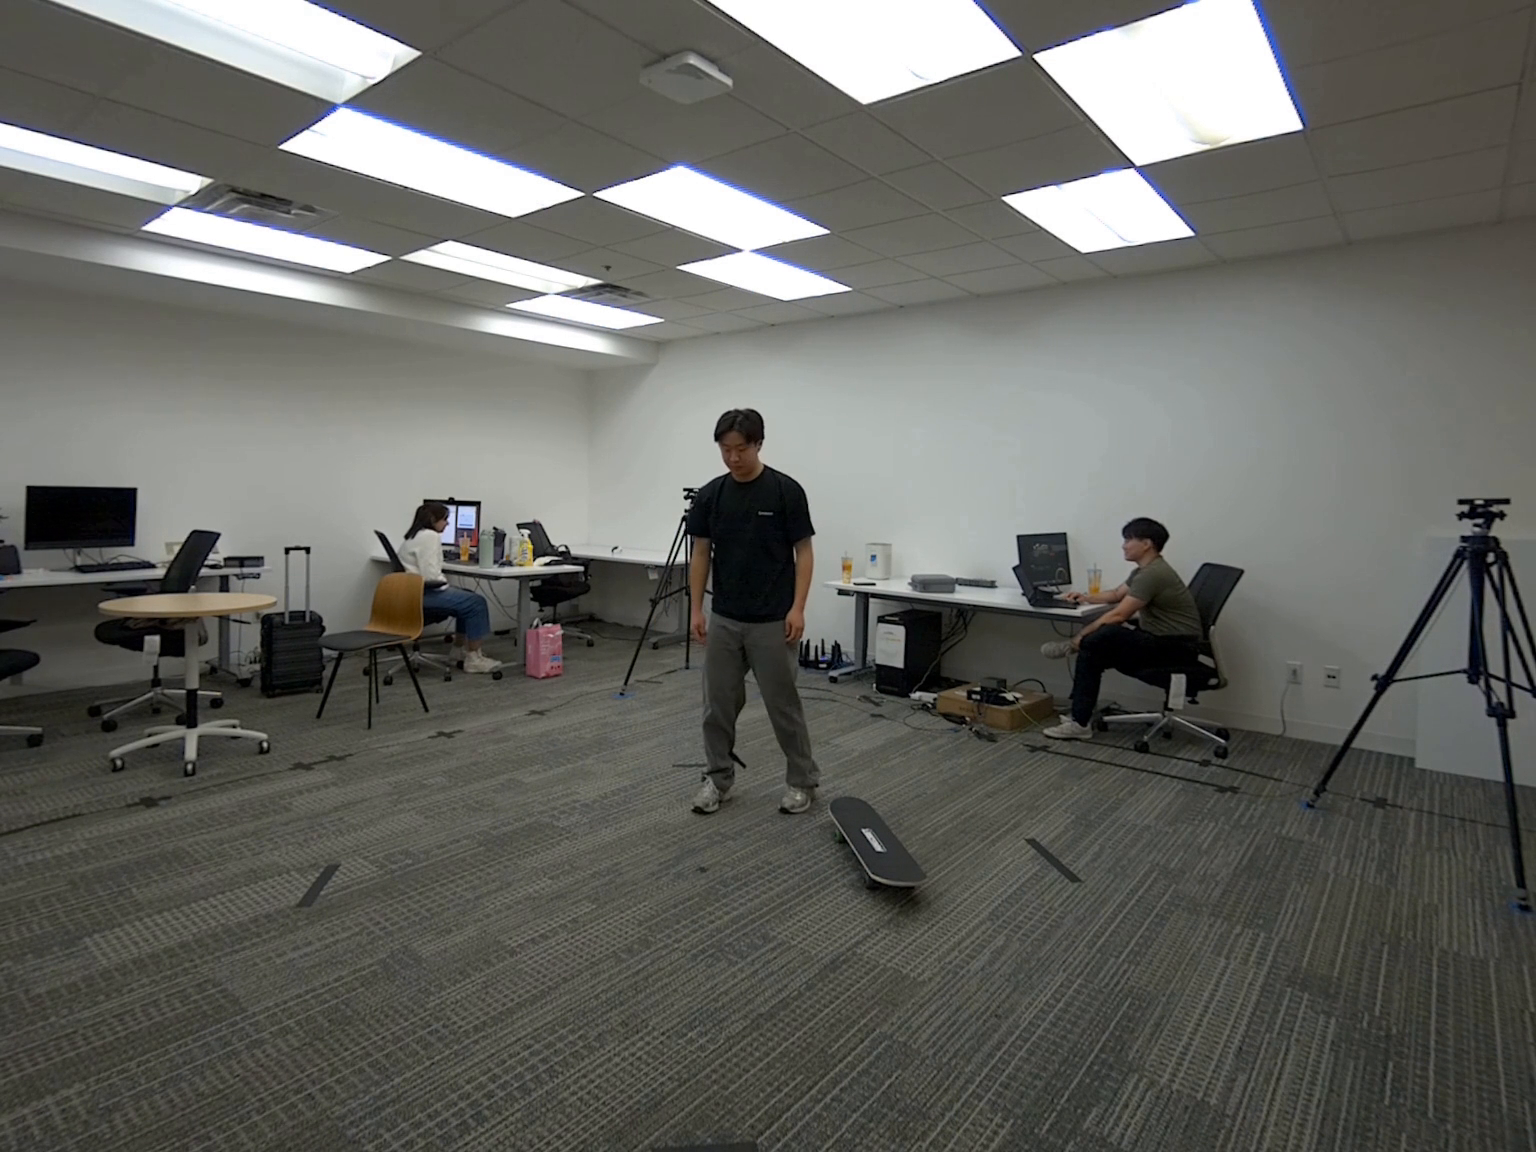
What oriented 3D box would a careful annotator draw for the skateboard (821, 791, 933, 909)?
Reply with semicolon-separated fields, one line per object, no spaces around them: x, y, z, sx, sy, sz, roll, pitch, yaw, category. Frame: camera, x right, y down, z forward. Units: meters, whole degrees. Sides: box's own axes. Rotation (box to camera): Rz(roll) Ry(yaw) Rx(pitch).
0.385;1.011;3.190;0.192;0.110;0.795;0;5;-9;skateboard
